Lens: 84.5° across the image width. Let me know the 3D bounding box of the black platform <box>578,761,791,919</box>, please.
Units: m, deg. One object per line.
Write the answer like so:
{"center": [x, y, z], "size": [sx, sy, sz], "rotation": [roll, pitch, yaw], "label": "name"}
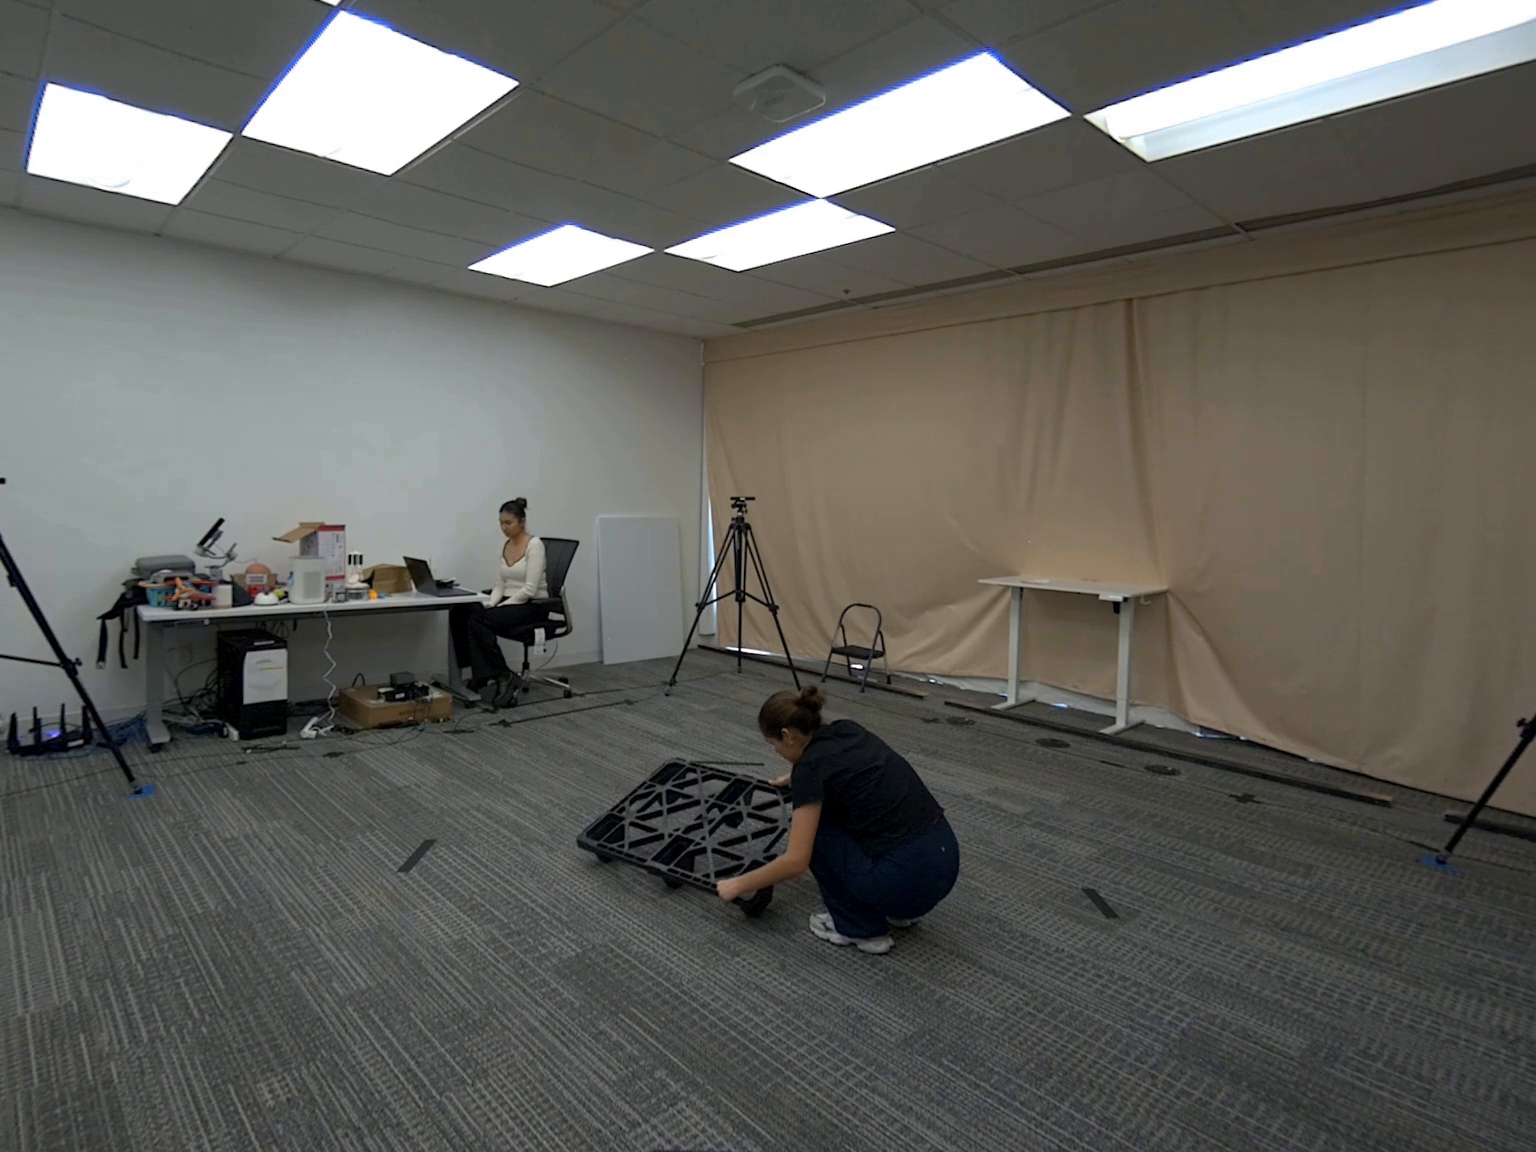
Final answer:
{"center": [-0.233, 0.968, 3.158], "size": [0.825, 0.141, 0.599], "rotation": [5, 22, 35], "label": "black platform"}
